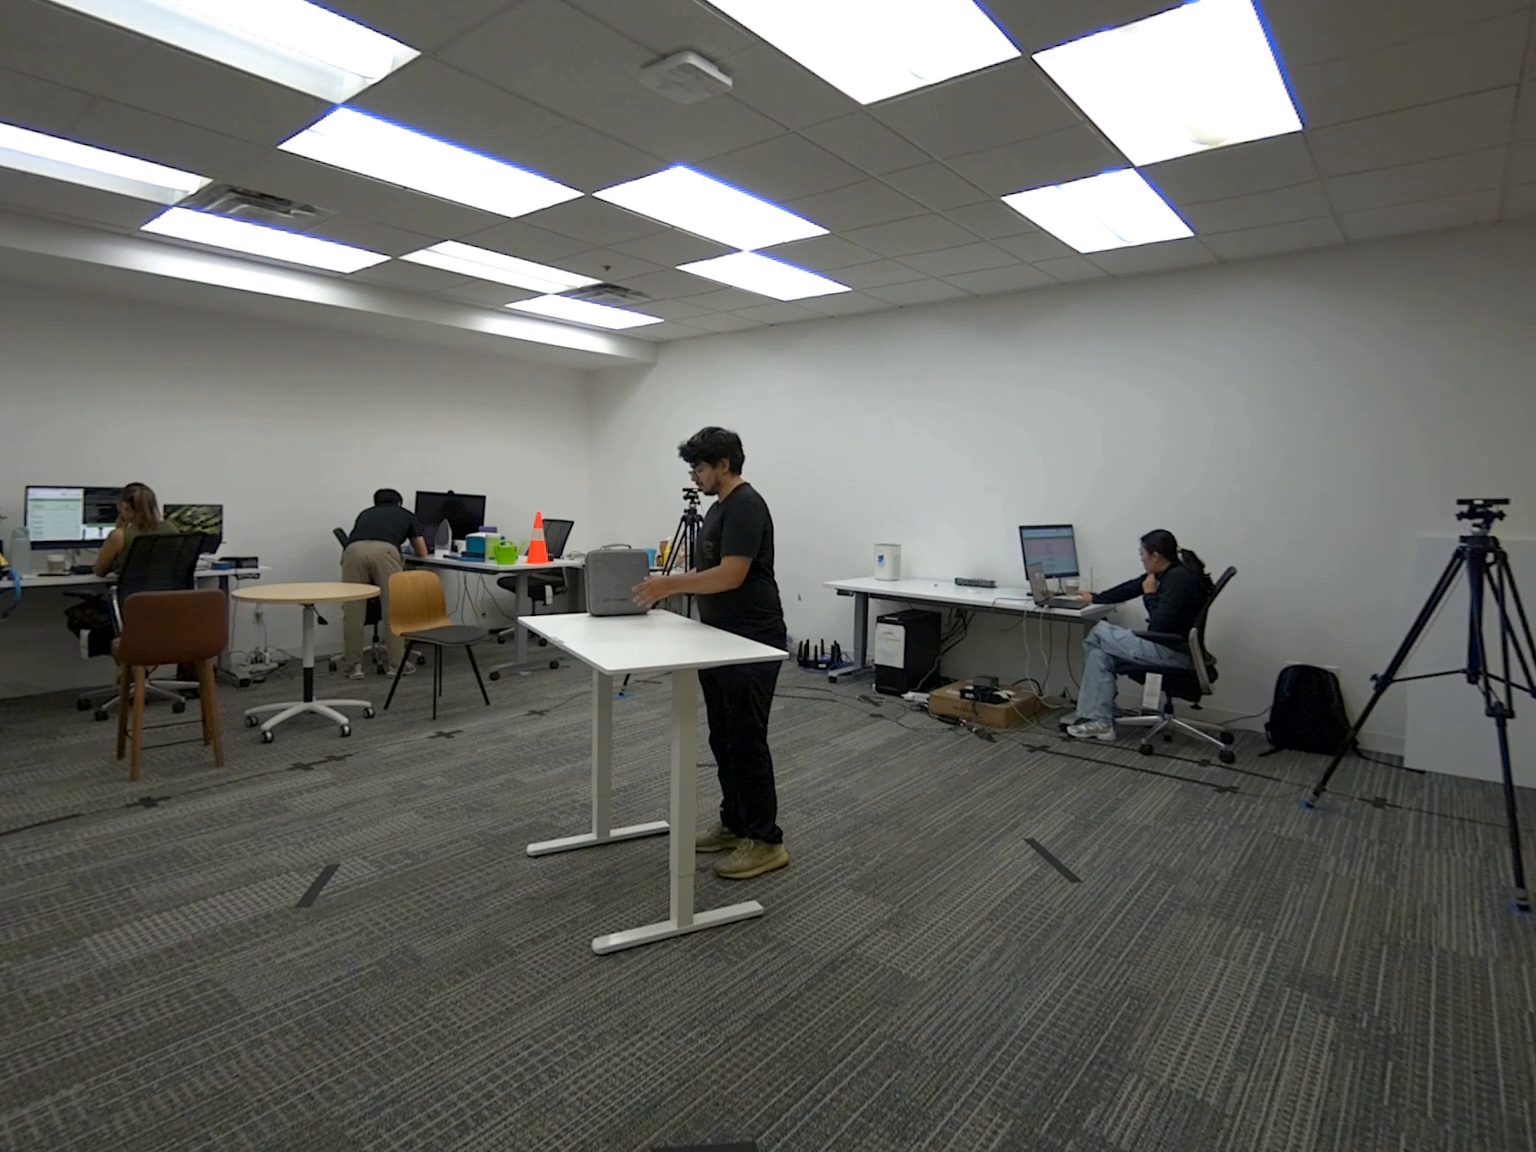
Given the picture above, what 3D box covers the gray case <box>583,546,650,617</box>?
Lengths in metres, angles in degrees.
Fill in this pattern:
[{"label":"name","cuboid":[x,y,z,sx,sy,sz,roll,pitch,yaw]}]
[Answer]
[{"label":"gray case","cuboid":[-0.609,0.024,3.381,0.251,0.262,0.106,-2,-6,-24]}]
